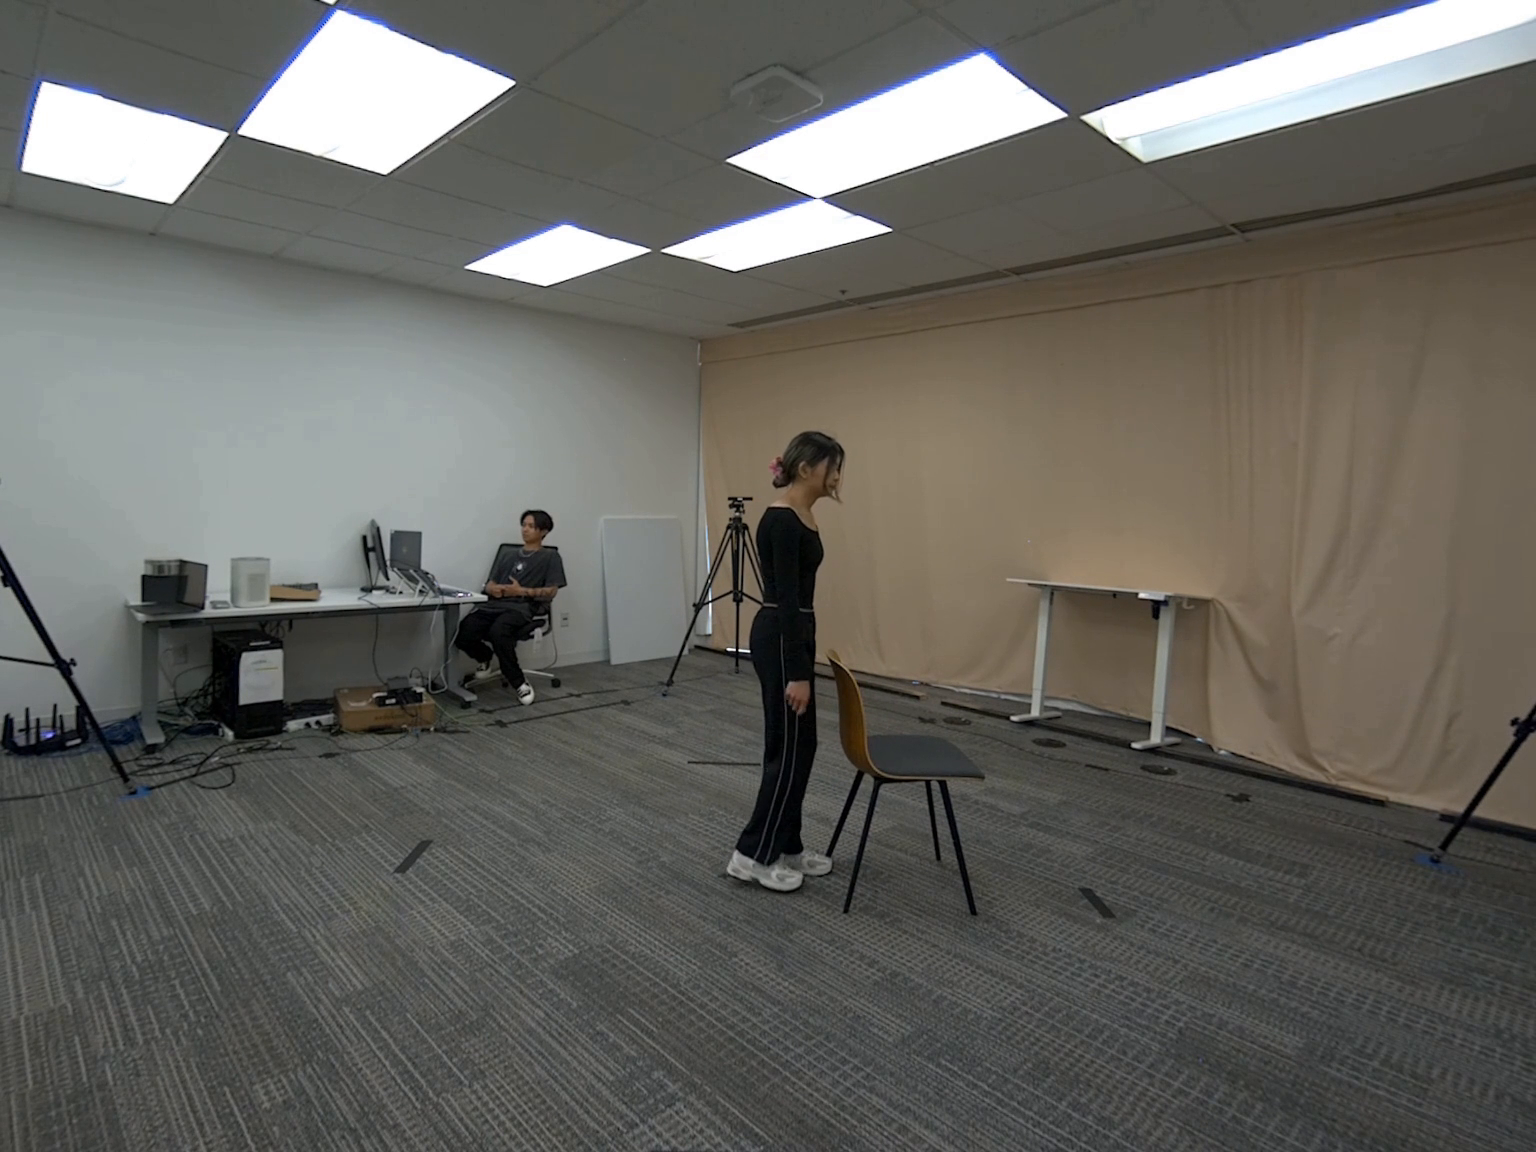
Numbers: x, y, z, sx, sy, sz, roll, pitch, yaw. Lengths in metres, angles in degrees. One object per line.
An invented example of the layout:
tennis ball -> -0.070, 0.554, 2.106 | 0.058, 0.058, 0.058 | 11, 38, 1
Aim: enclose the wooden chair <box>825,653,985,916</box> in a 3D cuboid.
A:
wooden chair -> 0.481, 0.699, 3.040 | 0.522, 0.875, 0.480 | -2, 3, -3
